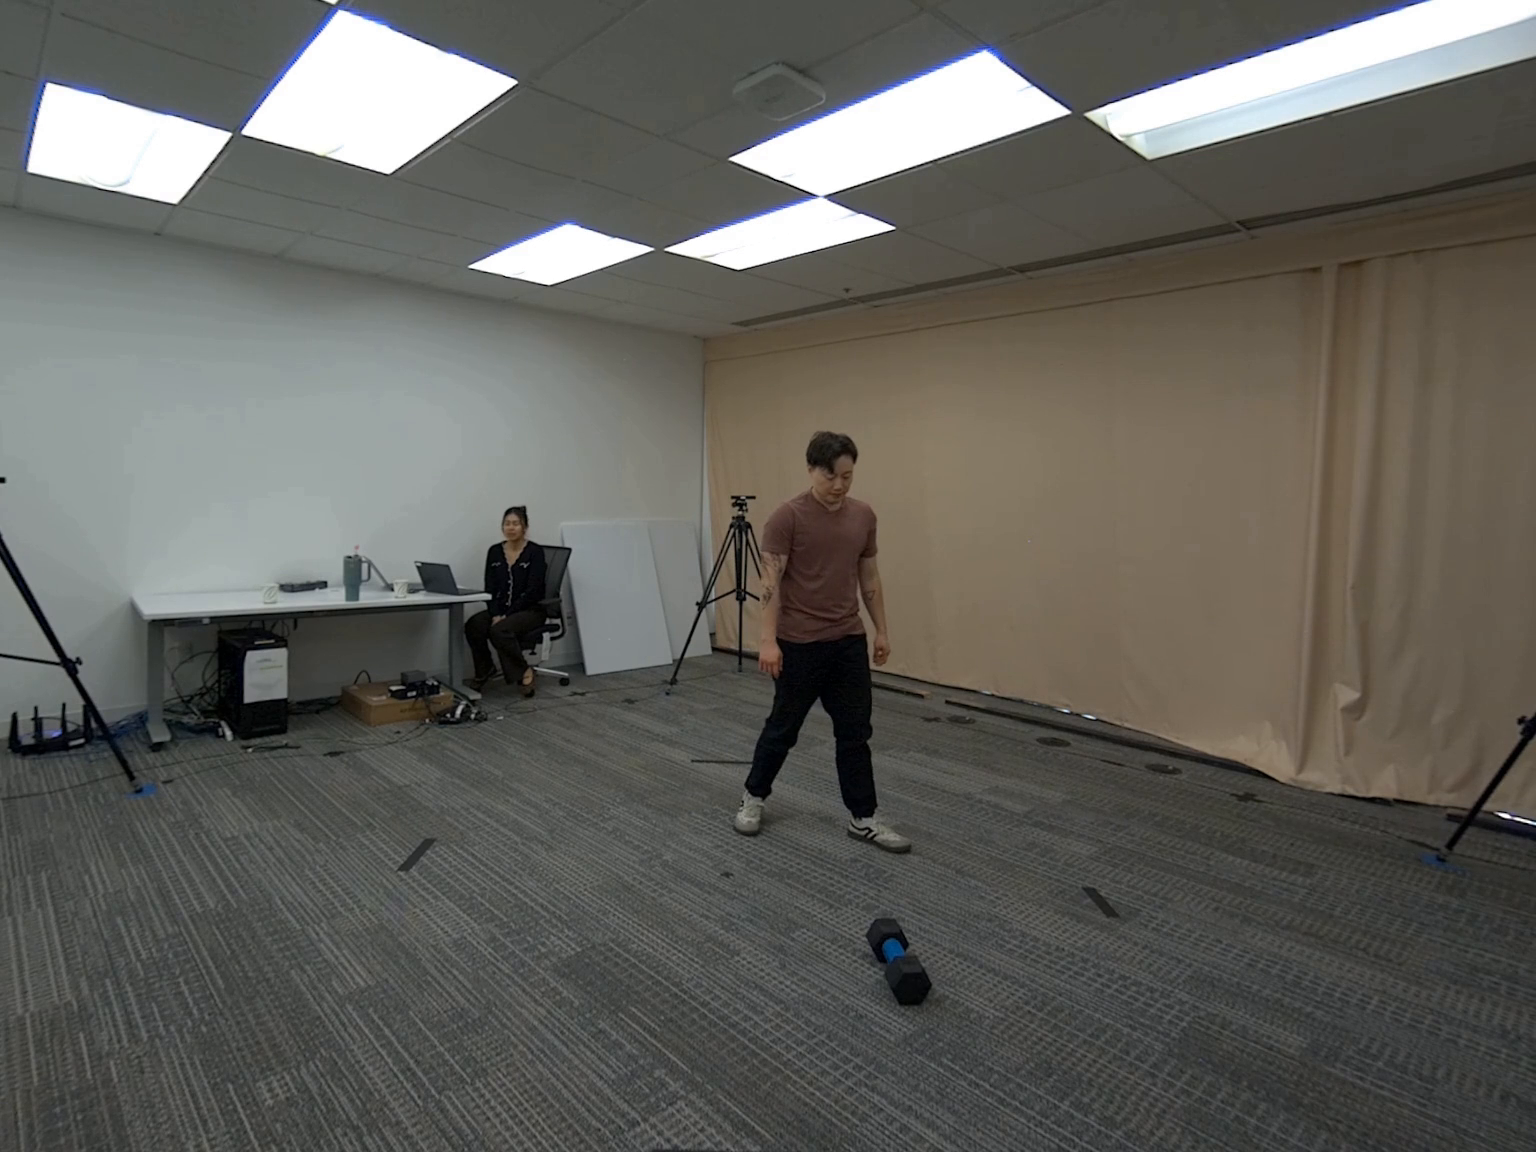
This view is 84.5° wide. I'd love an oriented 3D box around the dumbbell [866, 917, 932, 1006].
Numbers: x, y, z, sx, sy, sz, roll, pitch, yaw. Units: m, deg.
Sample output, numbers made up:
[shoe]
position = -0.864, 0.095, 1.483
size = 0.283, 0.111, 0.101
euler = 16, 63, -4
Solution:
[dumbbell]
position = 0.370, 1.124, 2.457
size = 0.122, 0.108, 0.296
euler = 2, 5, -7
